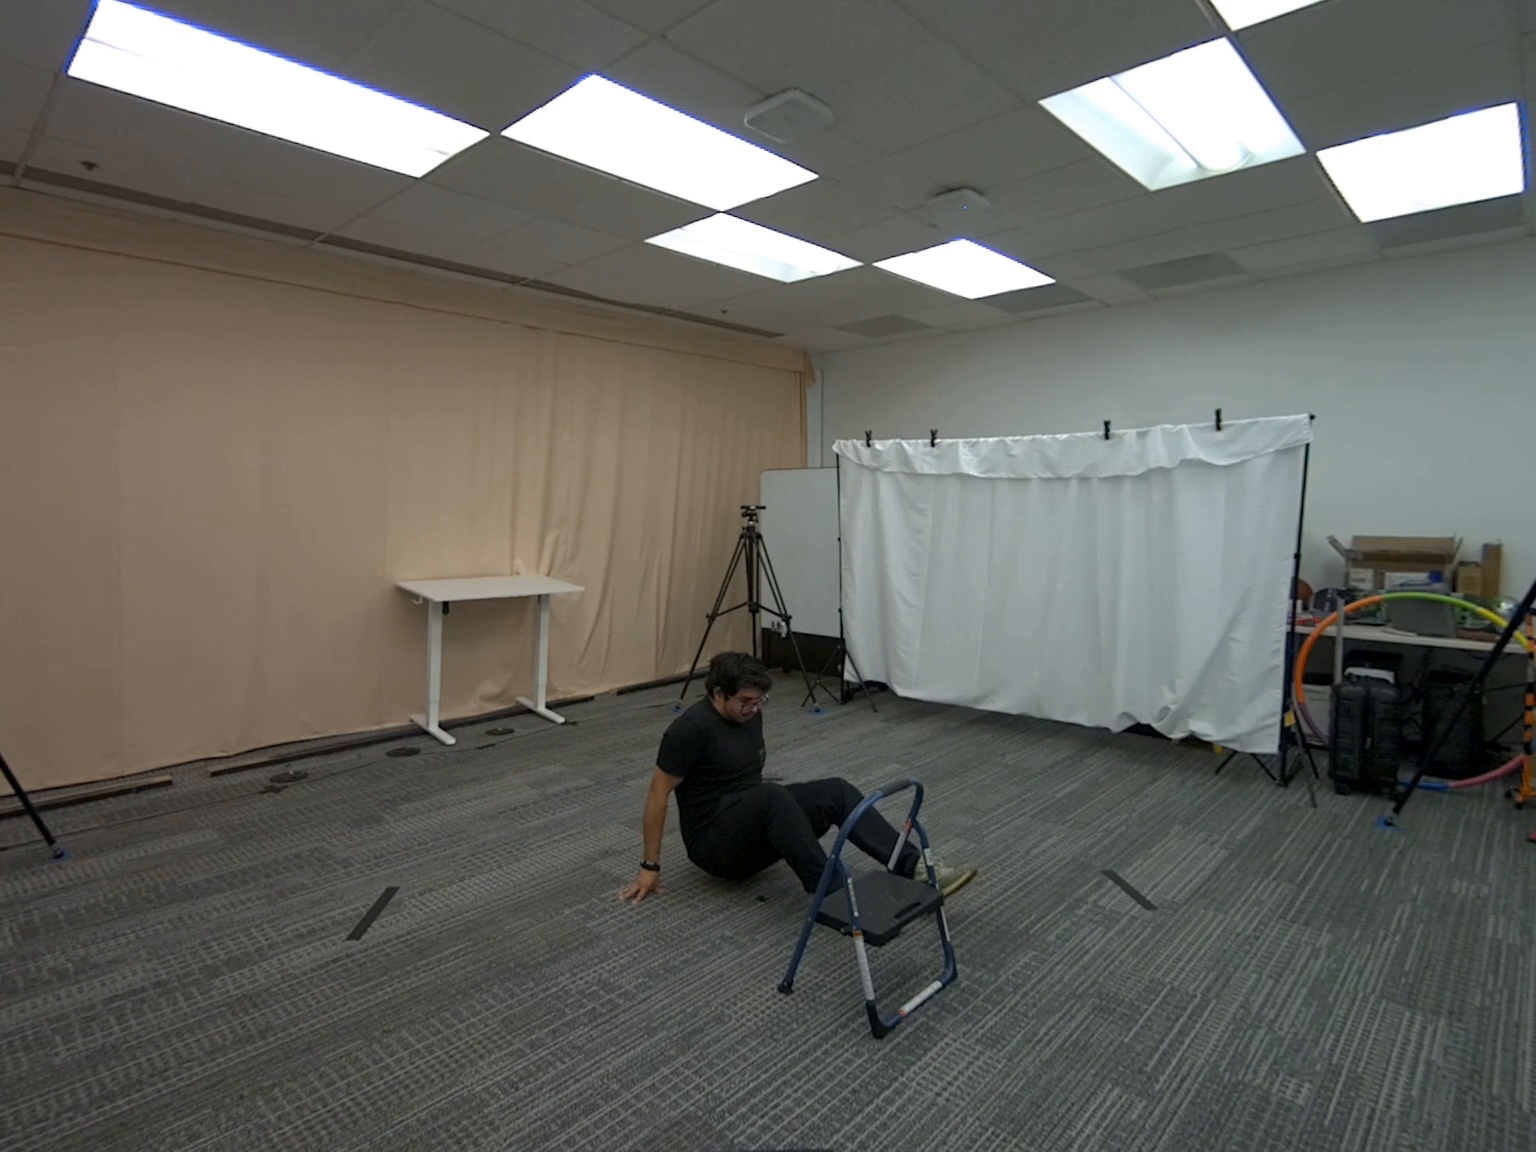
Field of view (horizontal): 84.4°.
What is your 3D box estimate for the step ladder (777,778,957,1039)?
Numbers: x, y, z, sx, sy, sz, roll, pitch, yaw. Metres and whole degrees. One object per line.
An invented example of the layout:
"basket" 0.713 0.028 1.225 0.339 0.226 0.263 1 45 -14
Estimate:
"step ladder" 0.300 0.885 2.435 0.361 0.604 0.417 3 5 42
